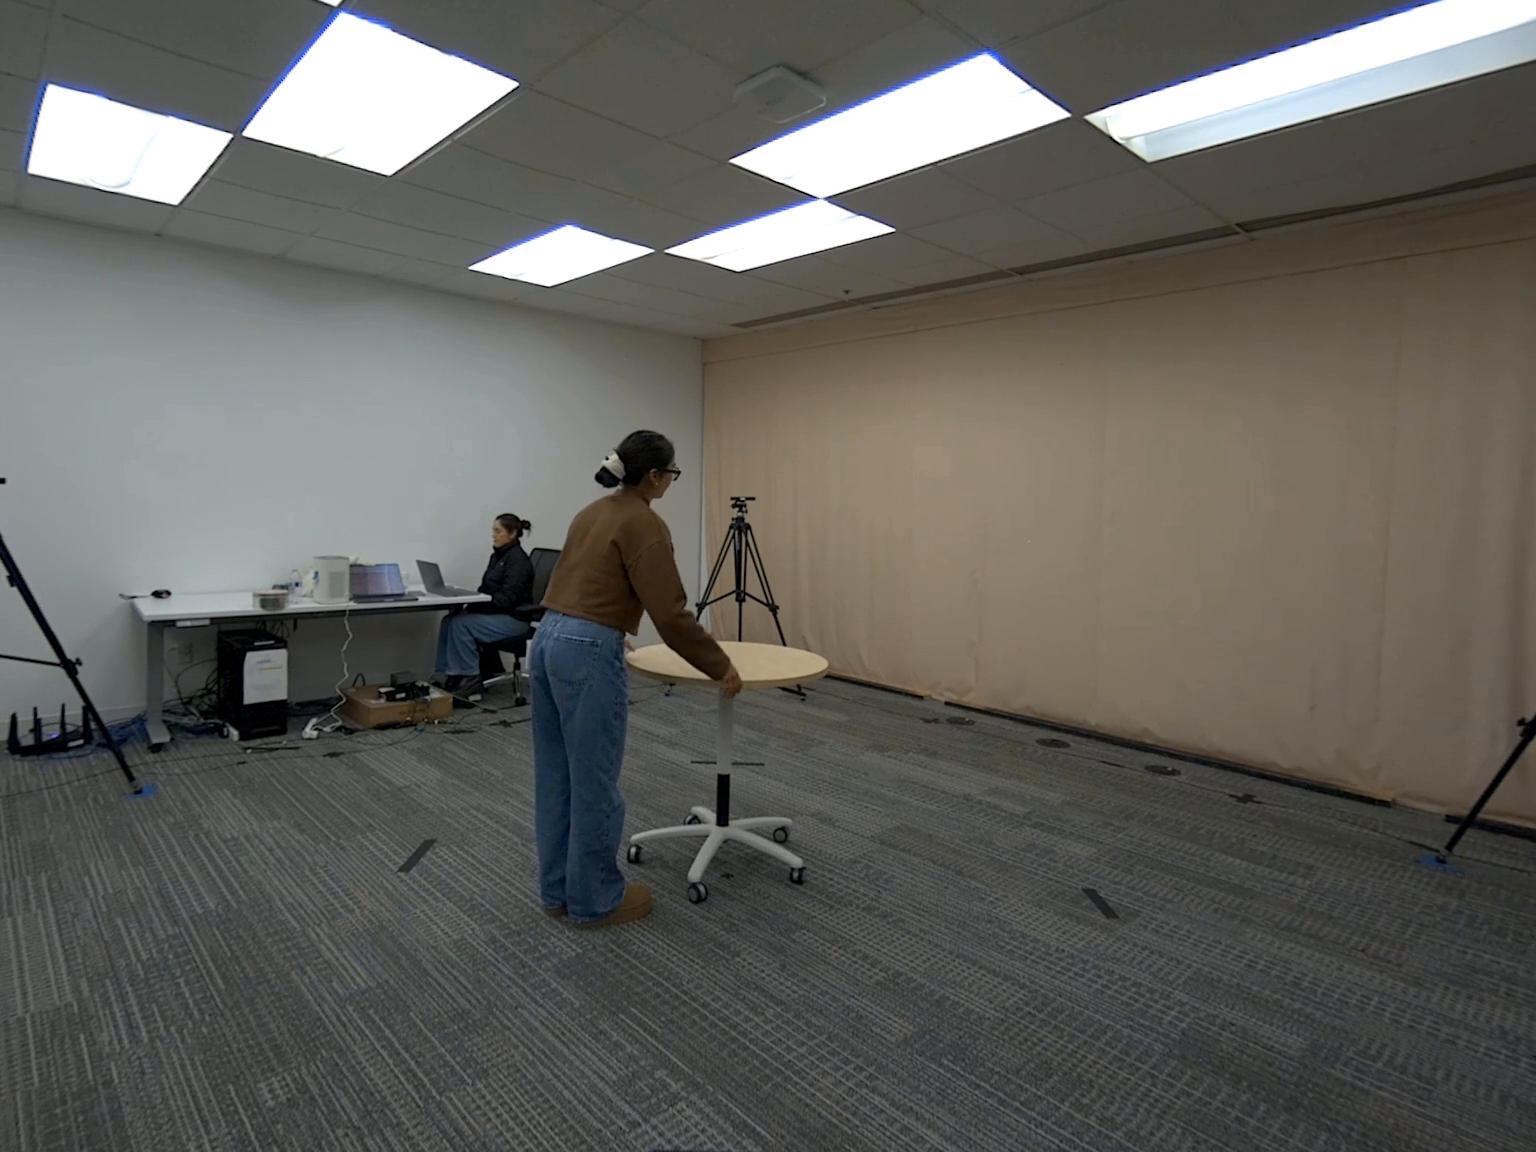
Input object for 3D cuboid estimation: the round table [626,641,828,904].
[{"bbox_3d":[-0.177,0.707,3.209,0.763,0.792,0.766,2,4,-1],"label":"round table"}]
